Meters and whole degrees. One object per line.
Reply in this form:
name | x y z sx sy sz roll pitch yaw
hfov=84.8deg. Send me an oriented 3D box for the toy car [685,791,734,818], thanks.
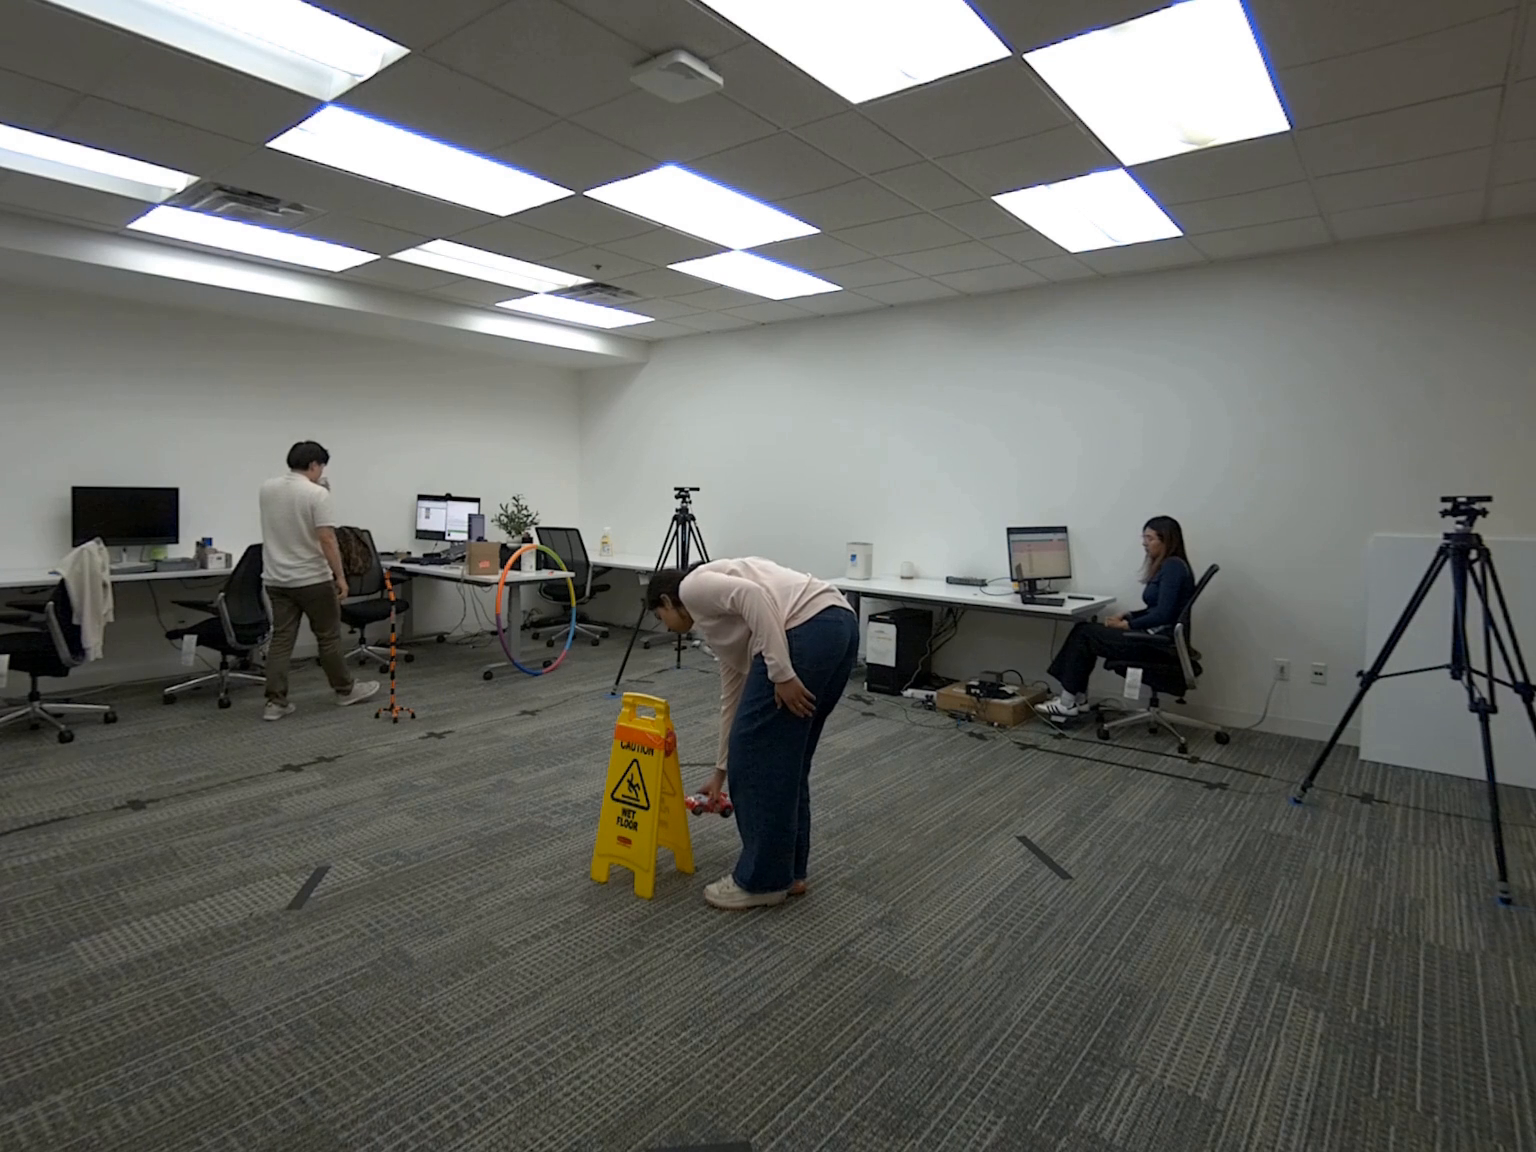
toy car | -0.231 0.872 3.241 0.246 0.083 0.134 3 0 -41
